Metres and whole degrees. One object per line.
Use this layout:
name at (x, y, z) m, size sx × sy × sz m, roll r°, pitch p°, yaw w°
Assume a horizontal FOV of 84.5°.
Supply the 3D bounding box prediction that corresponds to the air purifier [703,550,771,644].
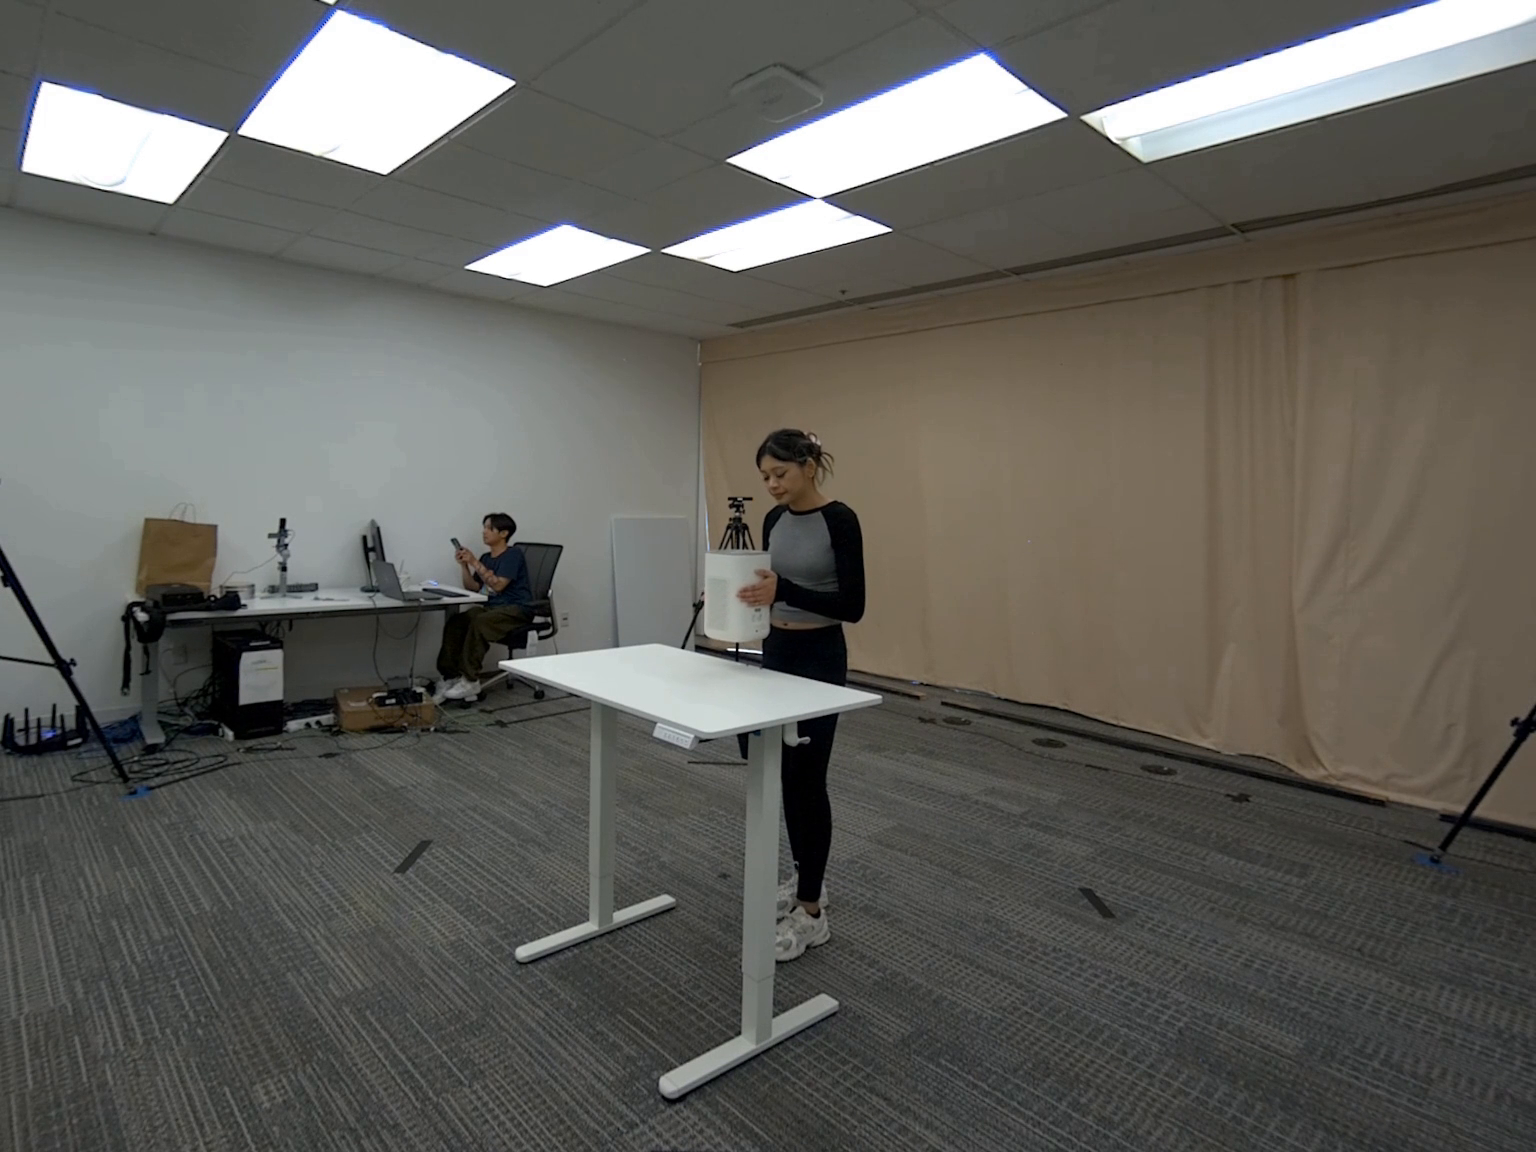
air purifier at (-0.090, 0.060, 2.547) m, size 0.176 × 0.265 × 0.167 m, roll 4°, pitch 4°, yaw 41°
